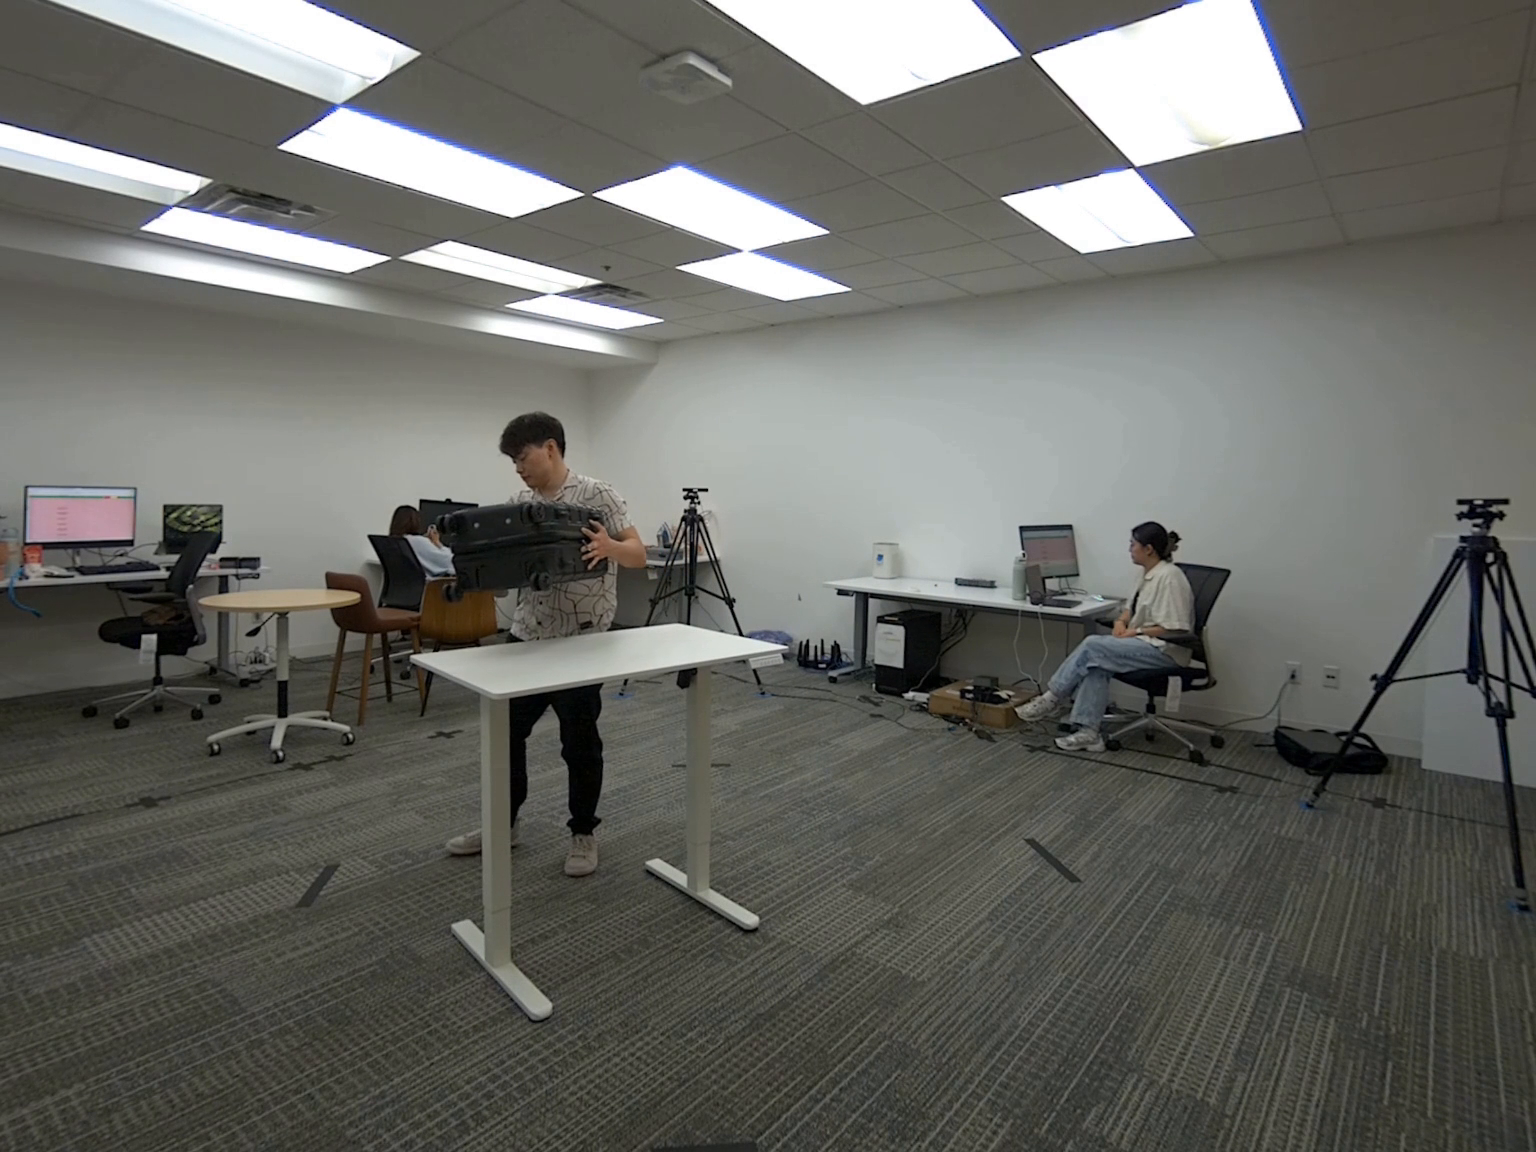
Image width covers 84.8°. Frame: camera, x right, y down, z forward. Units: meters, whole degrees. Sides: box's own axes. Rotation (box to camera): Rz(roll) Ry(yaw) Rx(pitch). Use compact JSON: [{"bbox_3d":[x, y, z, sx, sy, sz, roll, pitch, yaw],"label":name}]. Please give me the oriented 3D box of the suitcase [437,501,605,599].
[{"bbox_3d":[-0.777,-0.096,2.750,0.380,0.248,0.542,-6,1,13],"label":"suitcase"}]
